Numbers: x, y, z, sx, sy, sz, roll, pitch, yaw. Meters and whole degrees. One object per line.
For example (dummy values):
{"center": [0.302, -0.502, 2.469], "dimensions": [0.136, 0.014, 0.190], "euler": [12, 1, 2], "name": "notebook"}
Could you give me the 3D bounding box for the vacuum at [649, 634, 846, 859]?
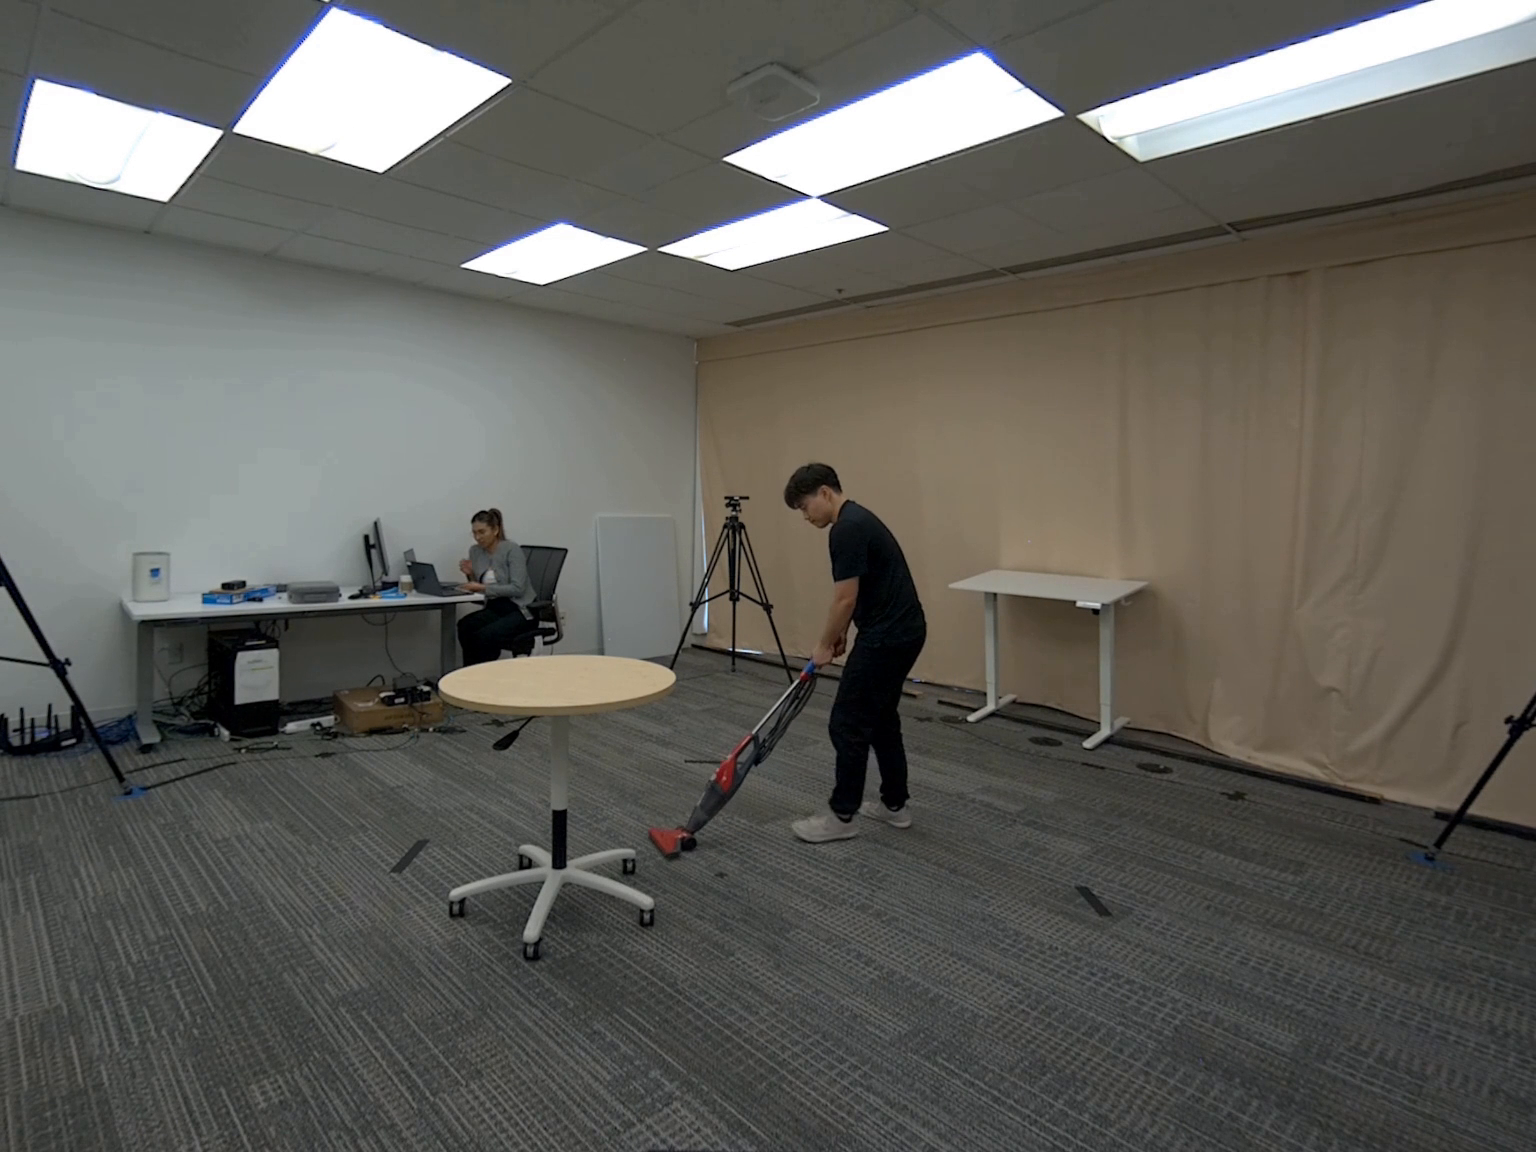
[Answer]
{"center": [-0.052, 0.695, 3.479], "dimensions": [0.141, 1.049, 0.257], "euler": [48, -17, -20], "name": "vacuum"}
